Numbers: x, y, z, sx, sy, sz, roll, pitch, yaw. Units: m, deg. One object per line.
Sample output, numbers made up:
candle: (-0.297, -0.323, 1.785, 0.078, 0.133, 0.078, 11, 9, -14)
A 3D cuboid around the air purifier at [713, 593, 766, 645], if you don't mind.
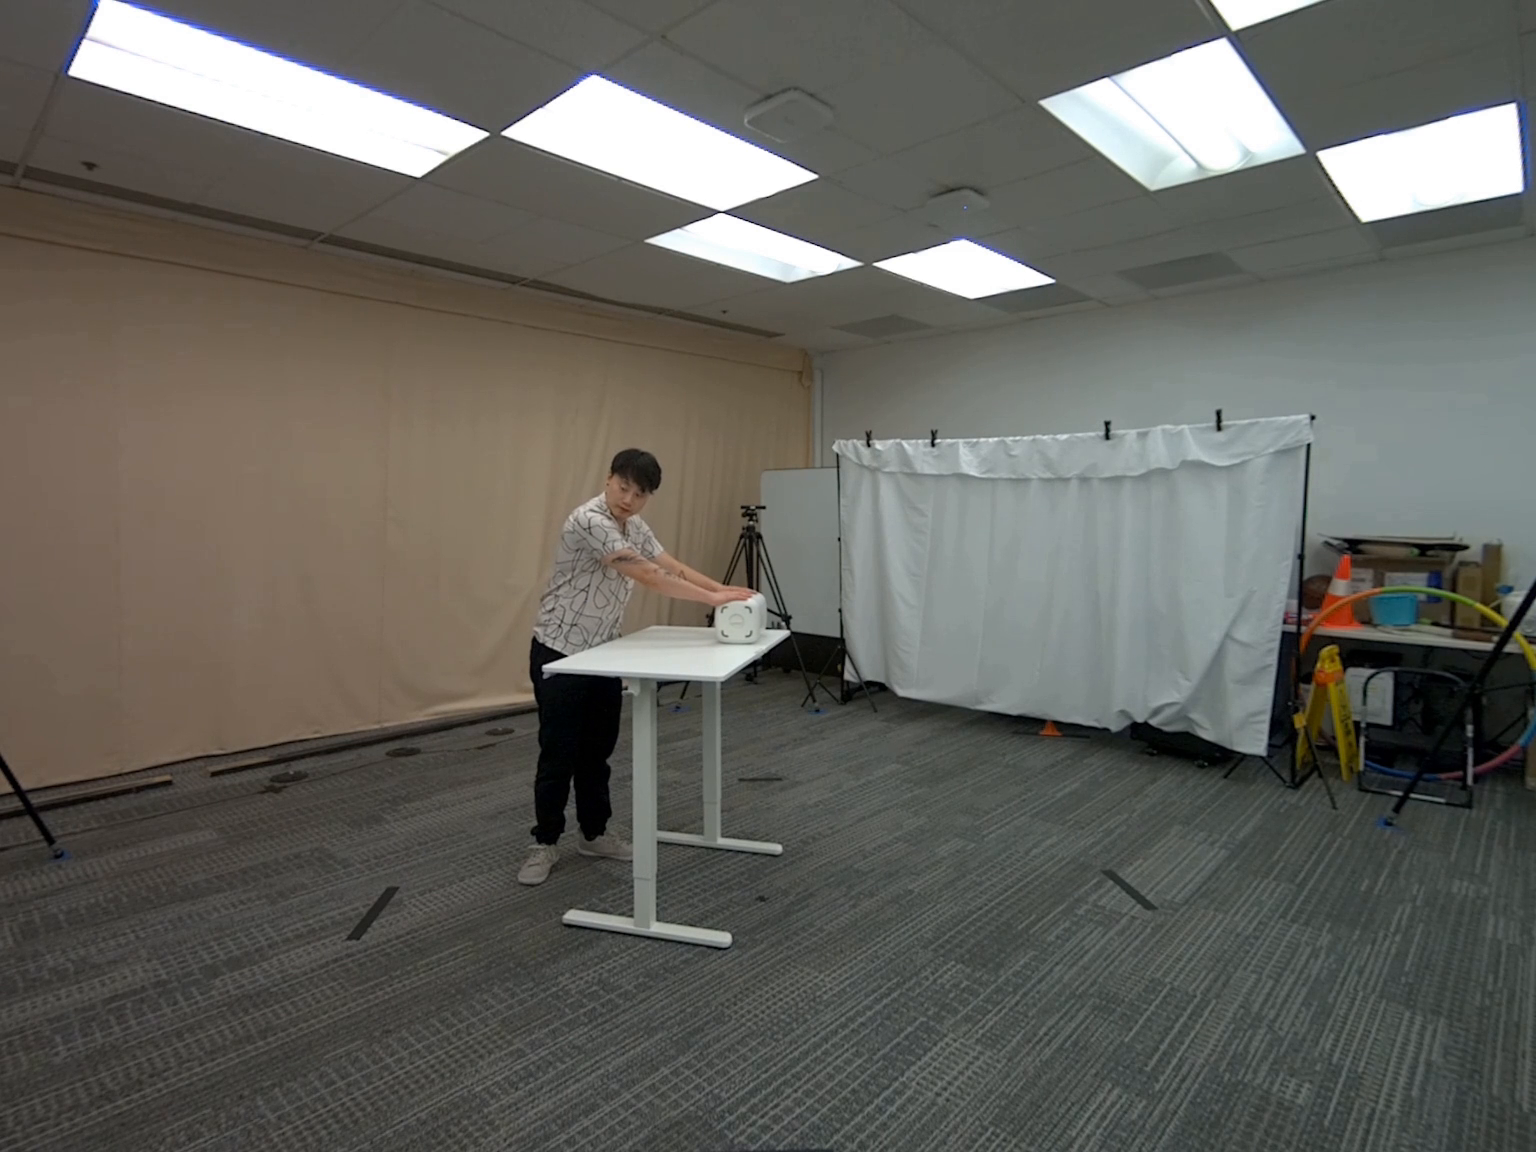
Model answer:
air purifier: (-0.102, 0.157, 3.210, 0.173, 0.171, 0.263, 0, 3, 9)
